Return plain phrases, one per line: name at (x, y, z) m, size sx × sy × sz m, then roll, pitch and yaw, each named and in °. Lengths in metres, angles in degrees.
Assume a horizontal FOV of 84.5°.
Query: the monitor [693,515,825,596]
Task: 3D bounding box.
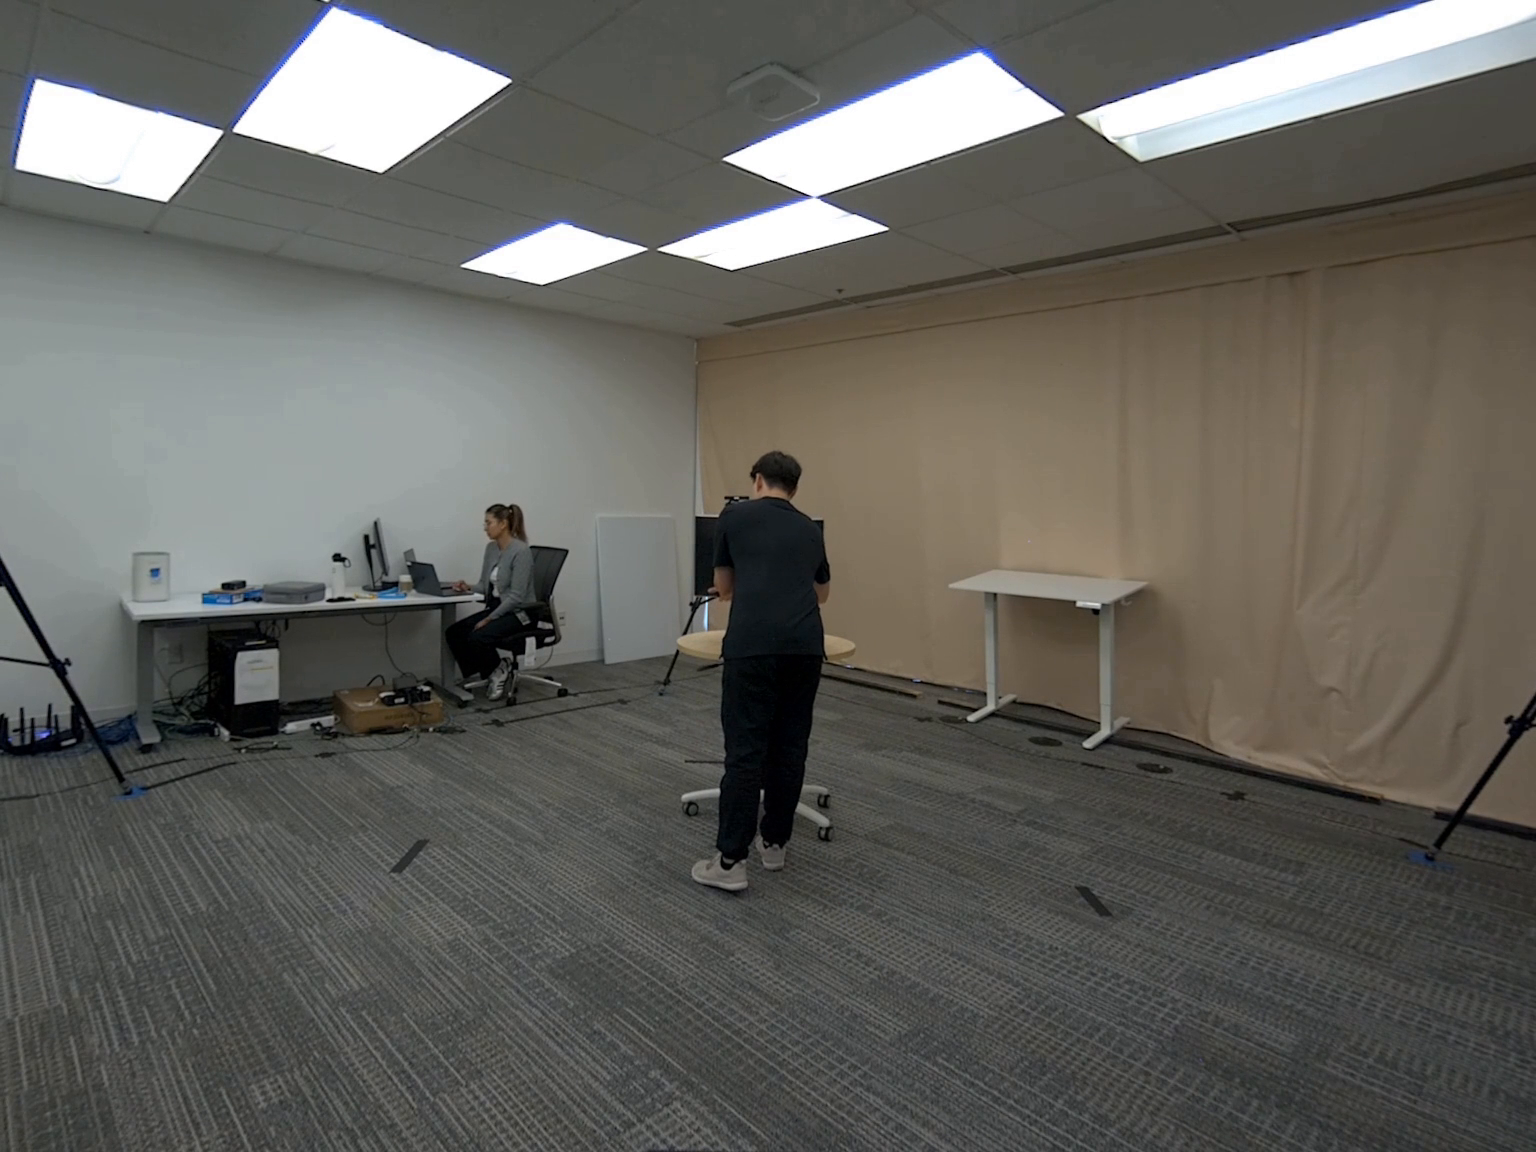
monitor at (-0.044, 0.023, 3.610) m, size 0.540 × 0.522 × 0.187 m, roll 2°, pitch 1°, yaw 2°
